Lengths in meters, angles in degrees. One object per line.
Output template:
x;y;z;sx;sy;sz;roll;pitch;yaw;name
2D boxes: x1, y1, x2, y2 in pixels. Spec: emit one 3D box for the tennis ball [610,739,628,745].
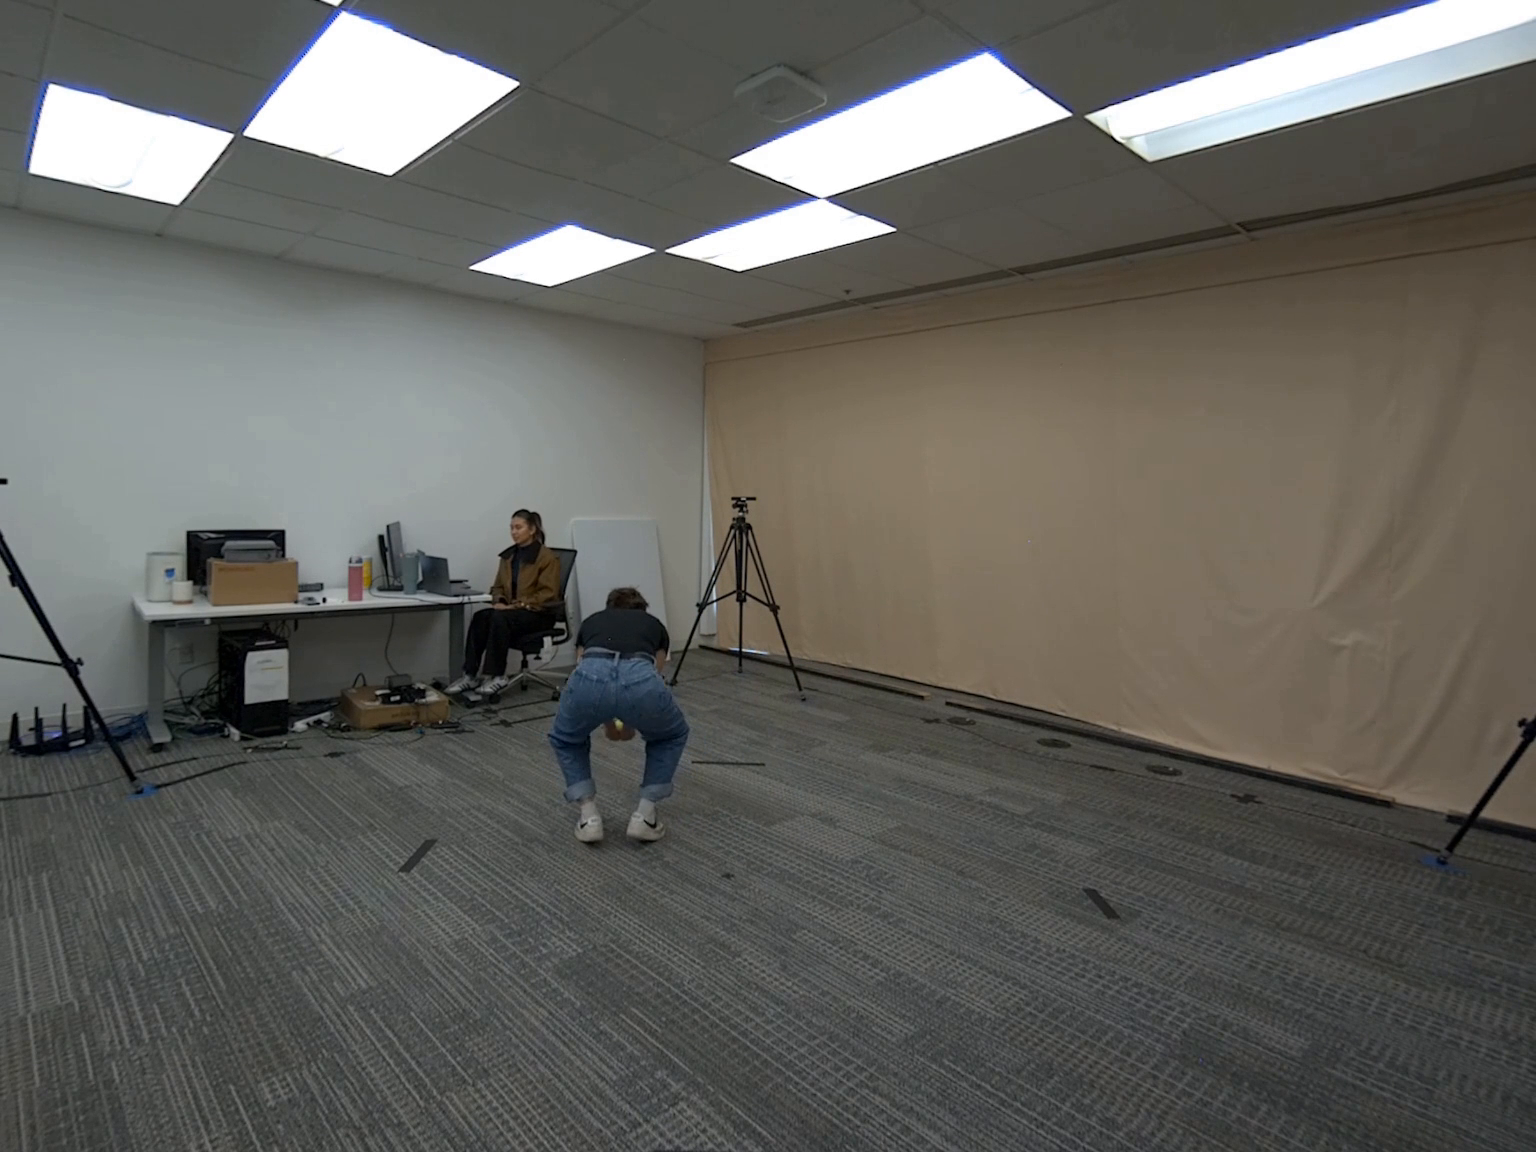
-0.656;0.697;3.721;0.066;0.066;0.067;1;4;-1;tennis ball
